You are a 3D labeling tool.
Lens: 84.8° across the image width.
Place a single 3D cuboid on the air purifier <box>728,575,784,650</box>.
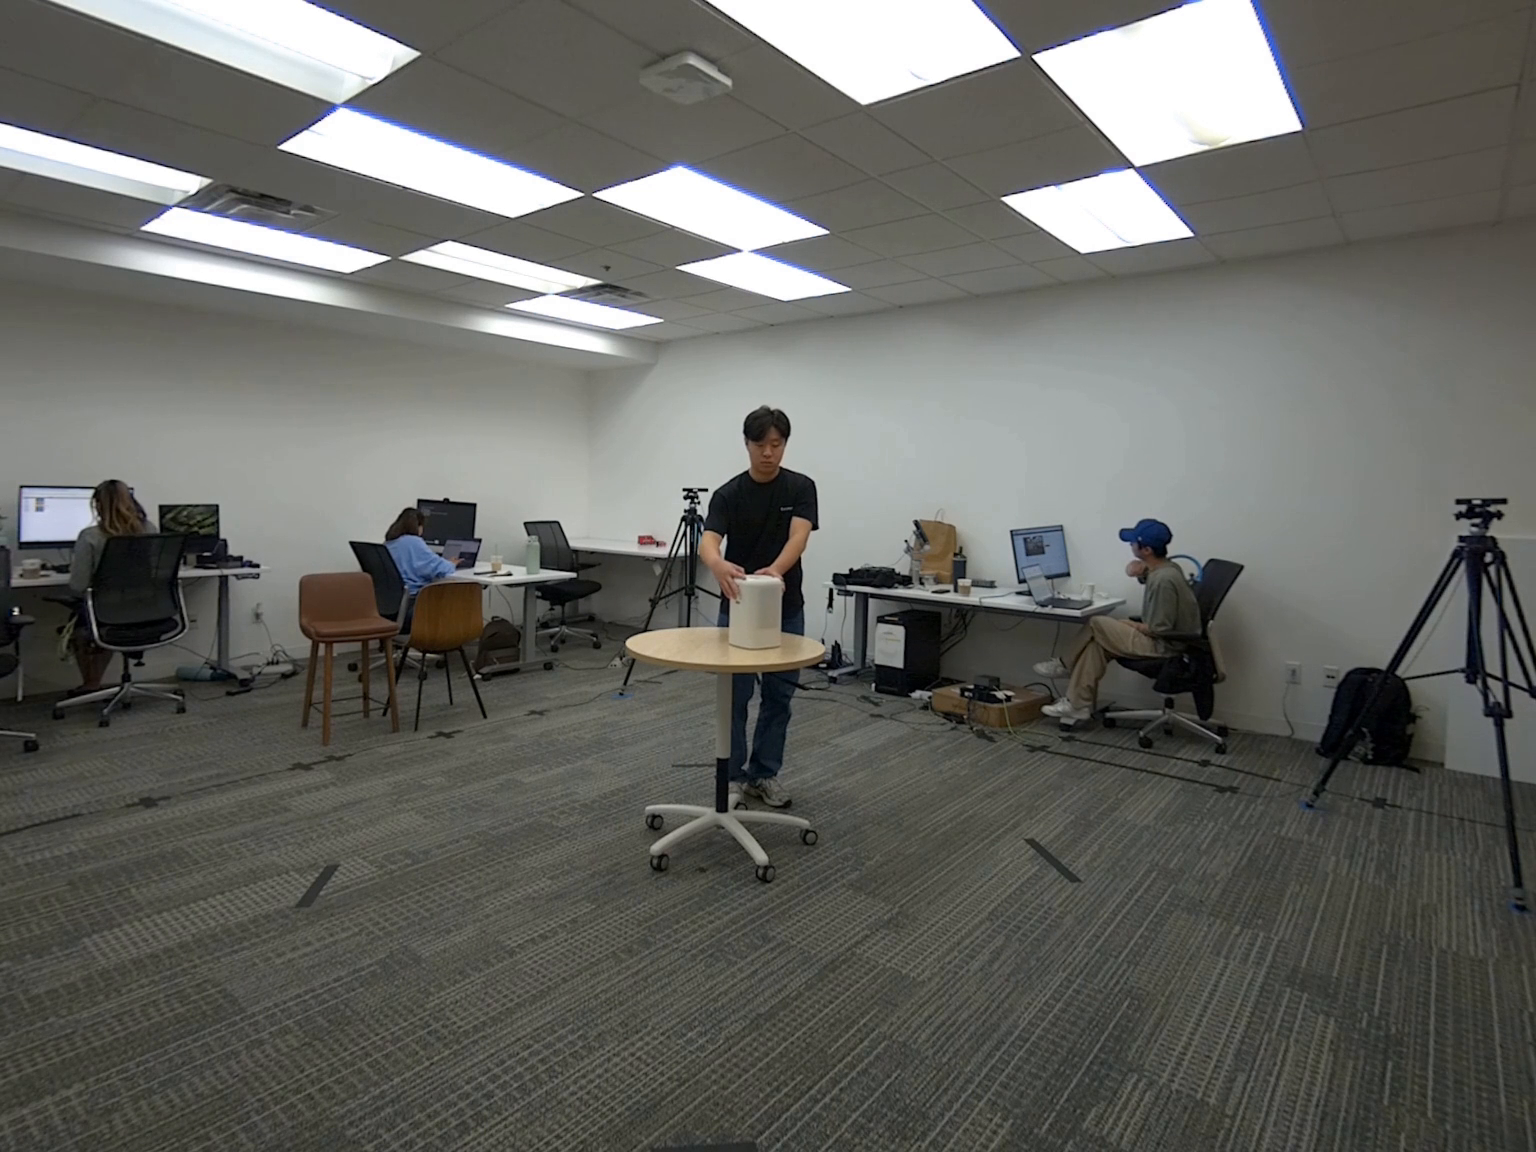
[{"bbox_3d":[-0.062,0.129,3.261,0.167,0.264,0.177,0,5,-33],"label":"air purifier"}]
